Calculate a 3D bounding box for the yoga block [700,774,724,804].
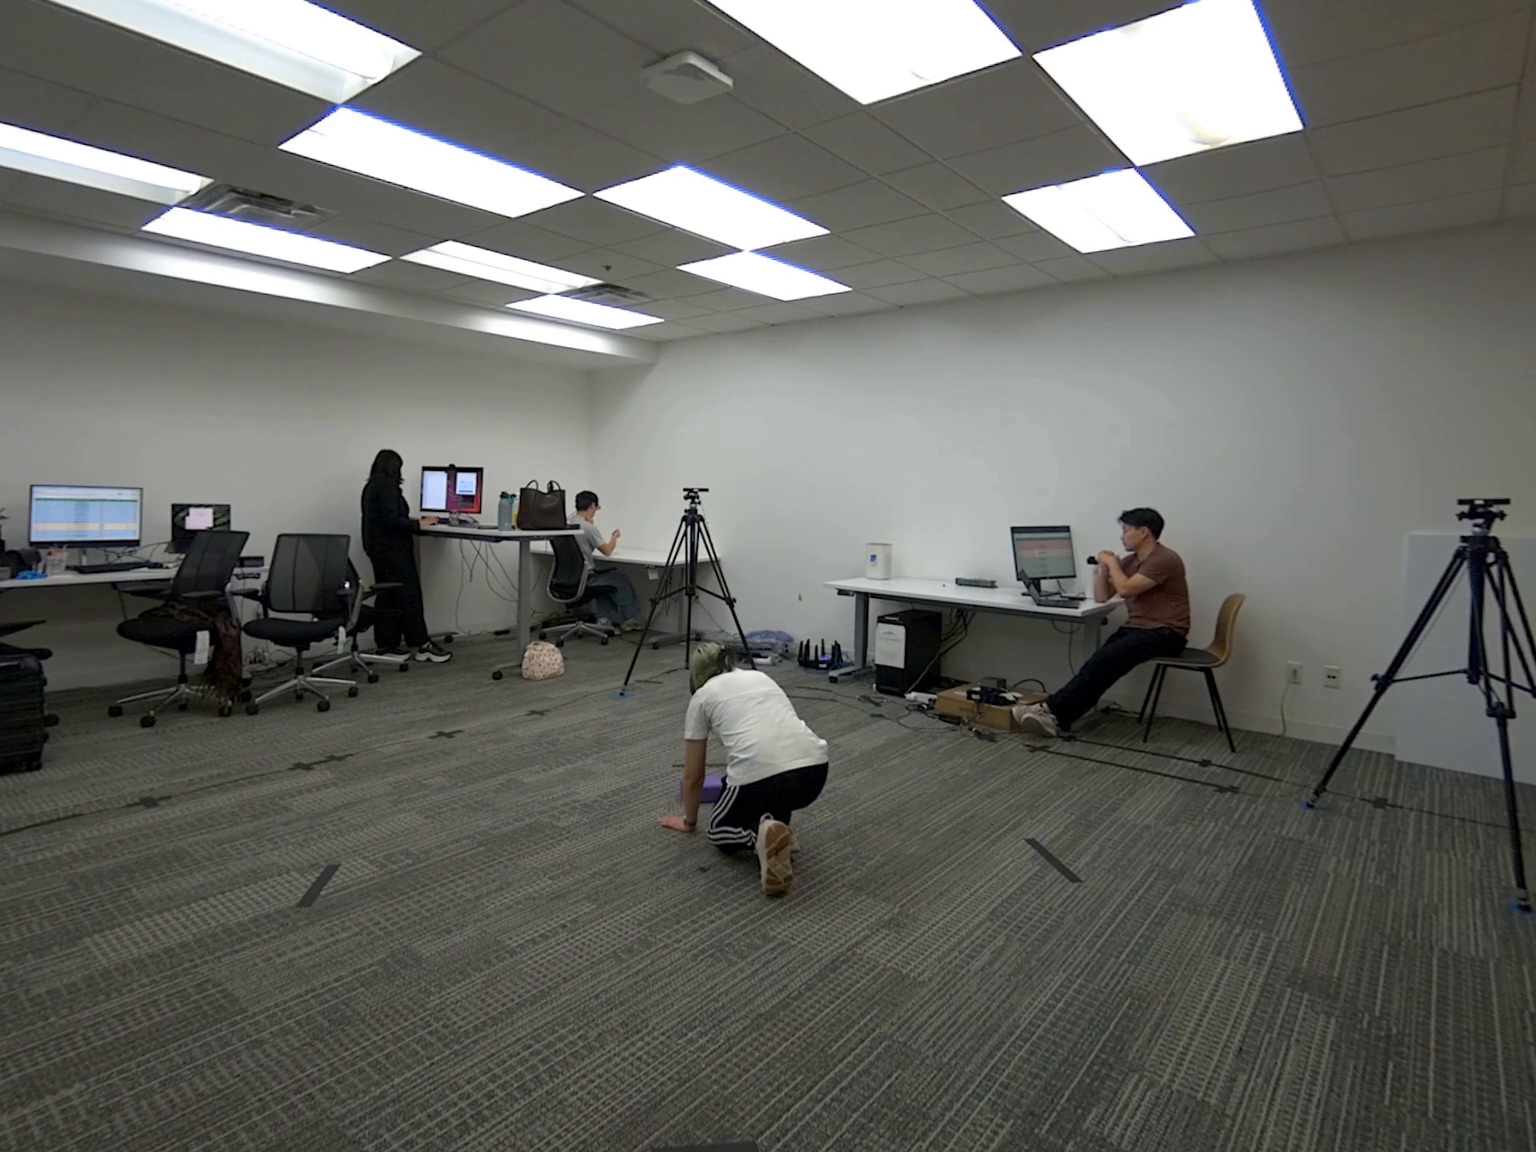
[{"bbox_3d":[-0.275,0.951,3.838,0.225,0.076,0.152,-1,5,-17],"label":"yoga block"}]
